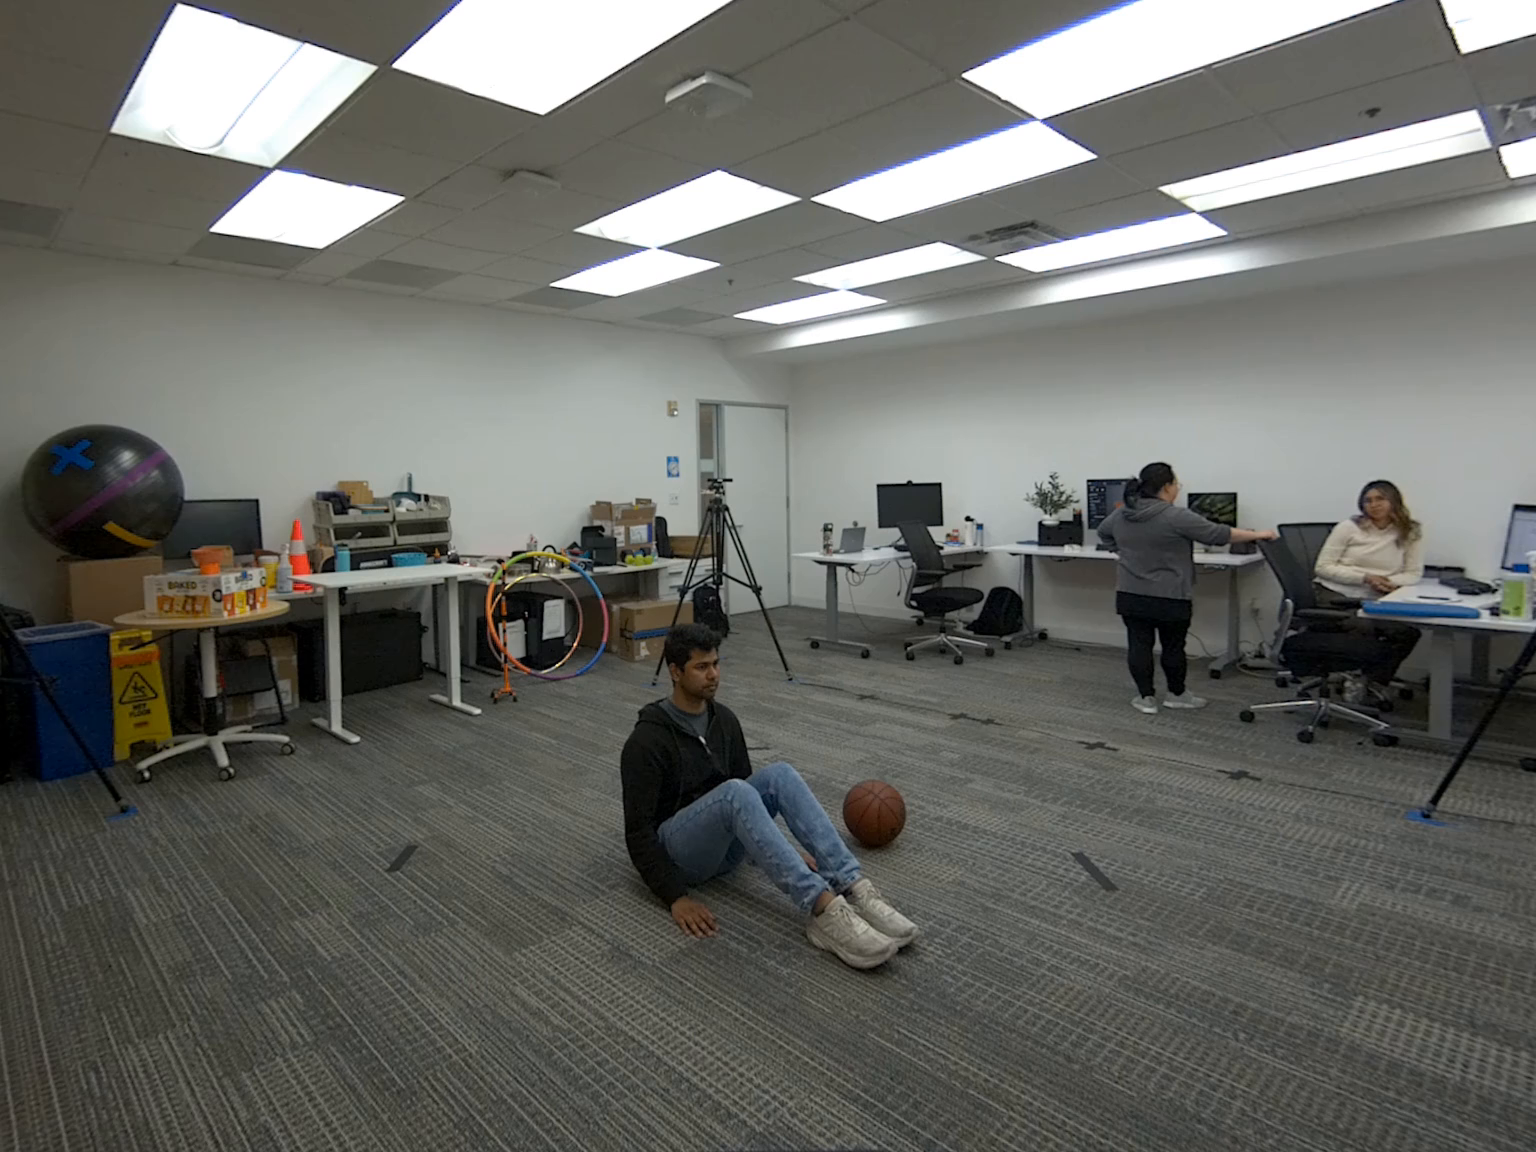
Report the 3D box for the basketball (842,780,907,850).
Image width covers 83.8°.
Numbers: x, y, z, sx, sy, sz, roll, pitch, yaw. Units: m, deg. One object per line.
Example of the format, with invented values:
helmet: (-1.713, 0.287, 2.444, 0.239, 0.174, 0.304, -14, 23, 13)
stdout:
basketball: (0.401, 0.893, 3.251, 0.236, 0.235, 0.237, -1, 5, -2)
